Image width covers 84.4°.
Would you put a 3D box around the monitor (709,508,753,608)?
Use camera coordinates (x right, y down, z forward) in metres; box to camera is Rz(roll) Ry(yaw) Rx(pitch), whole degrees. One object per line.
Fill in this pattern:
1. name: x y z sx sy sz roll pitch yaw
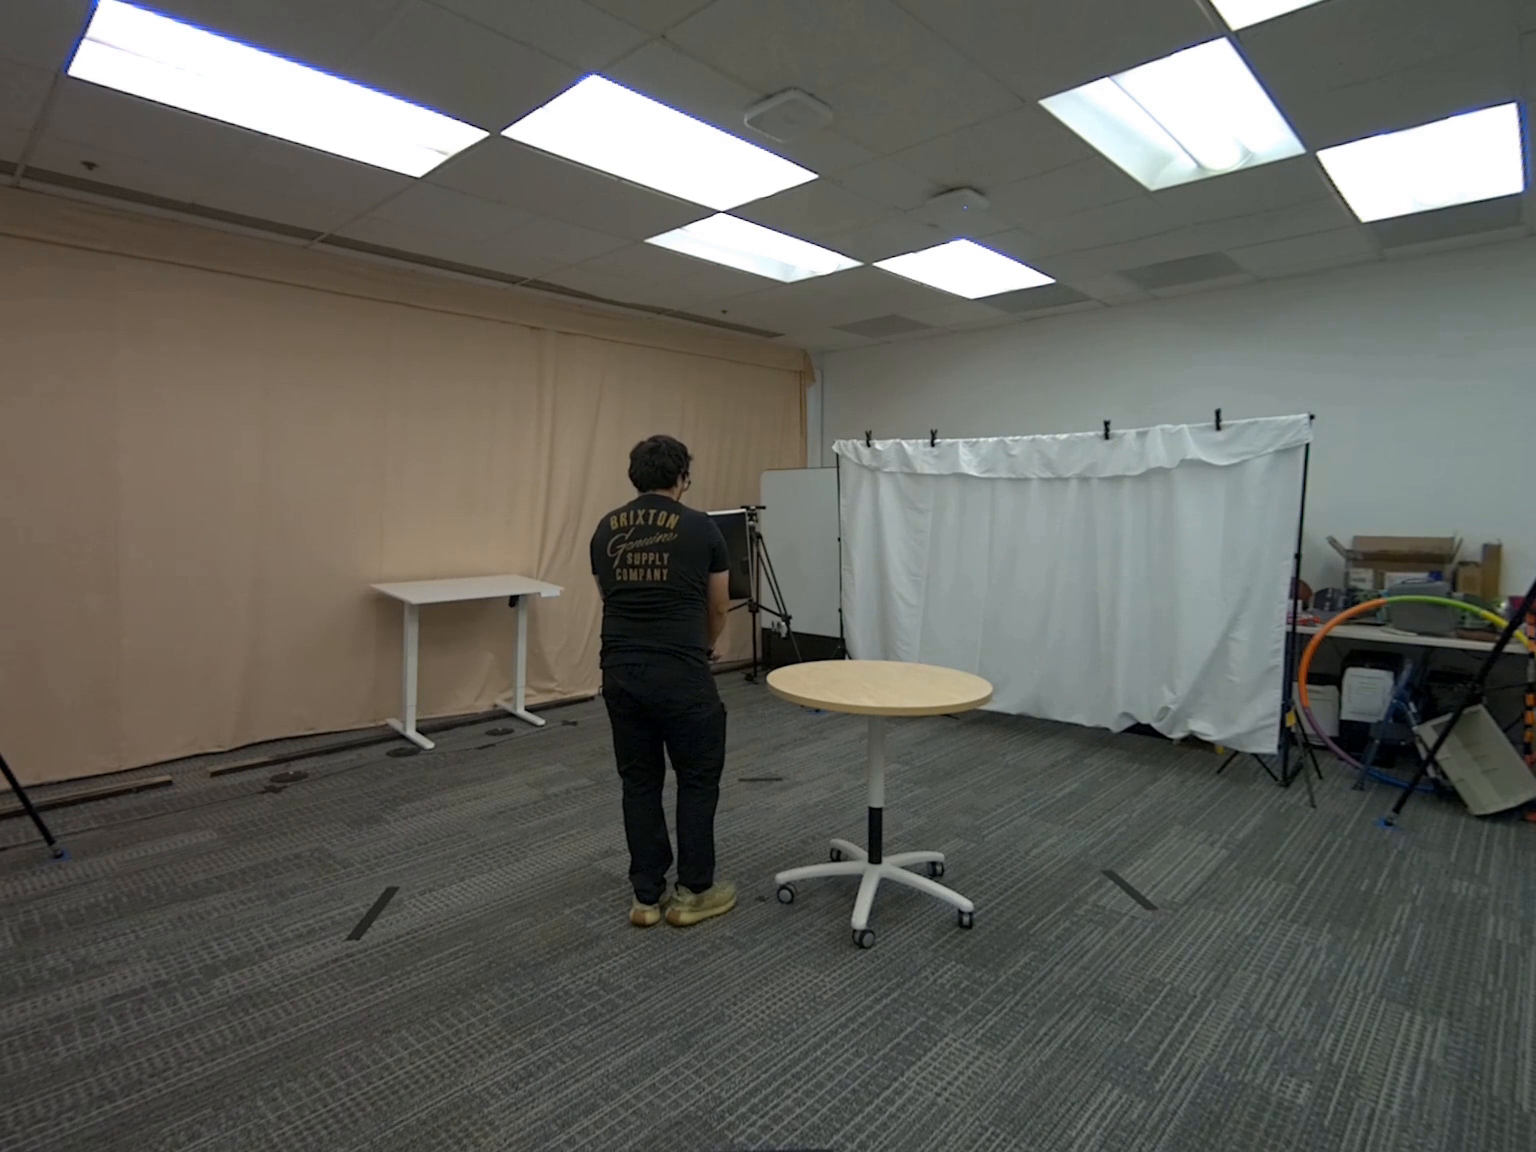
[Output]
1. monitor: -0.344 0.045 3.176 0.566 0.548 0.212 -5 14 1
